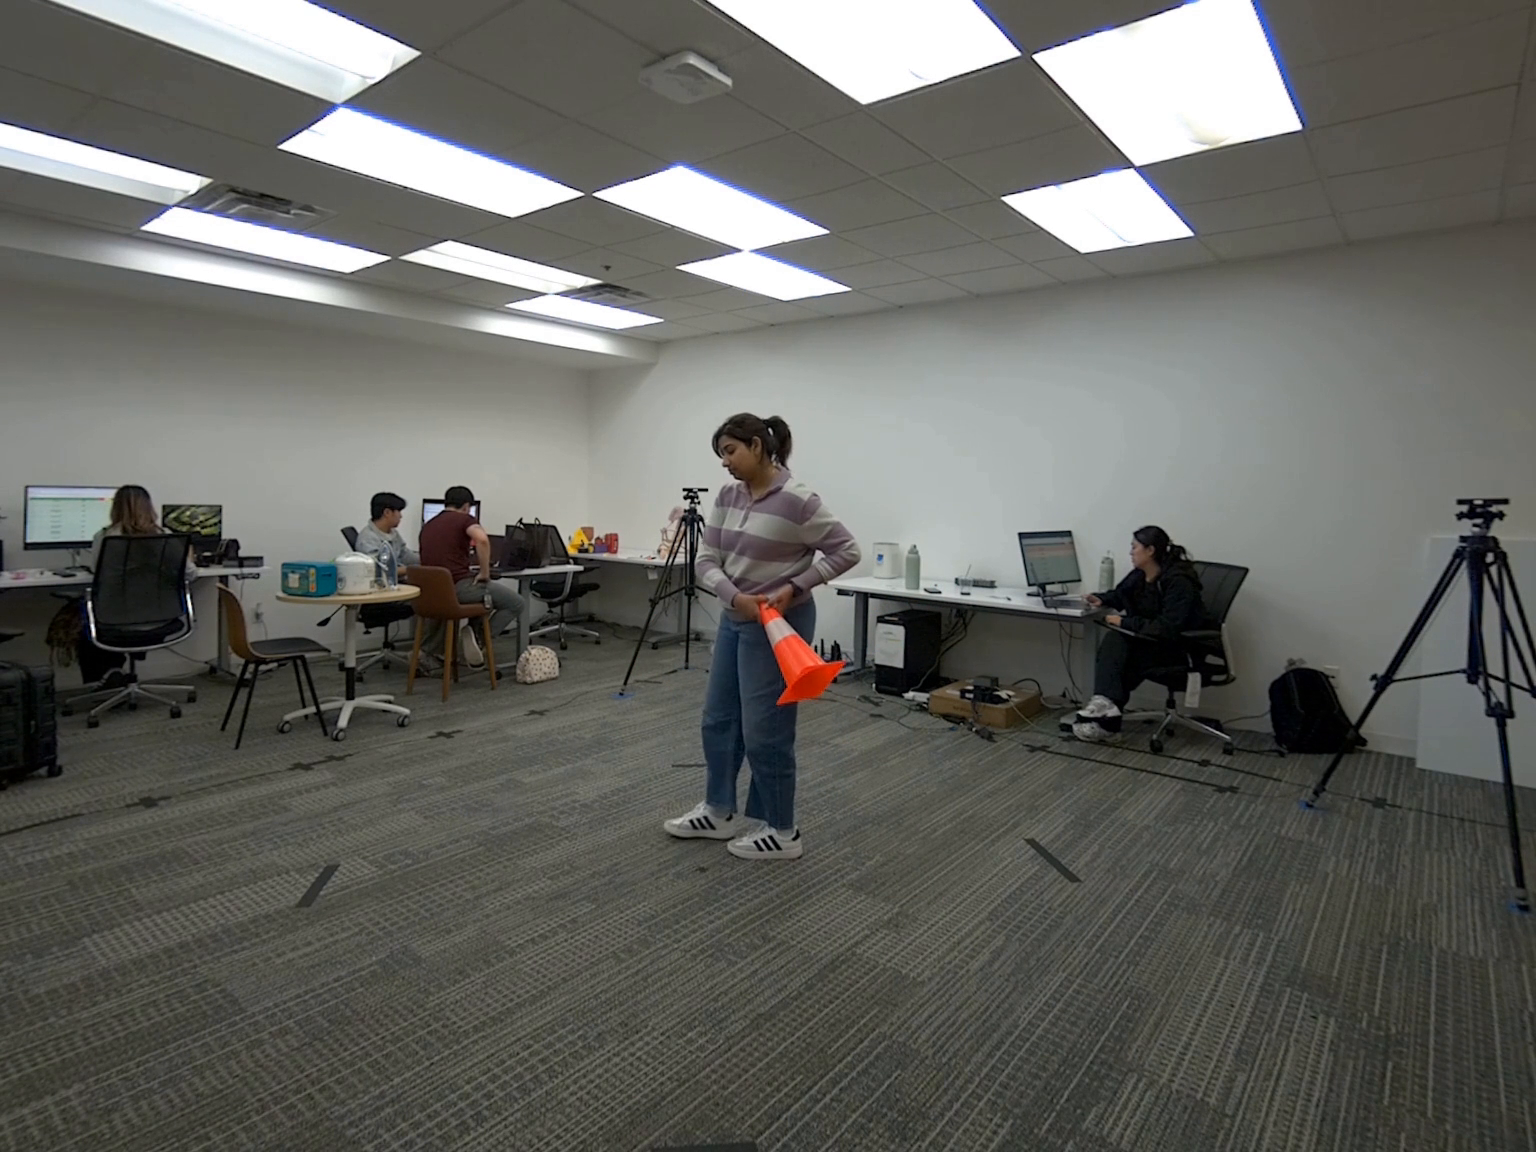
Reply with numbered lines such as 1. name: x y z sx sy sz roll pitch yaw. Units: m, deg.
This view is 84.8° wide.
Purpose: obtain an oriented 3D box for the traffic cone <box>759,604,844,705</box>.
1. traffic cone: 0.045 0.214 2.912 0.199 0.201 0.399 -1 46 -33
